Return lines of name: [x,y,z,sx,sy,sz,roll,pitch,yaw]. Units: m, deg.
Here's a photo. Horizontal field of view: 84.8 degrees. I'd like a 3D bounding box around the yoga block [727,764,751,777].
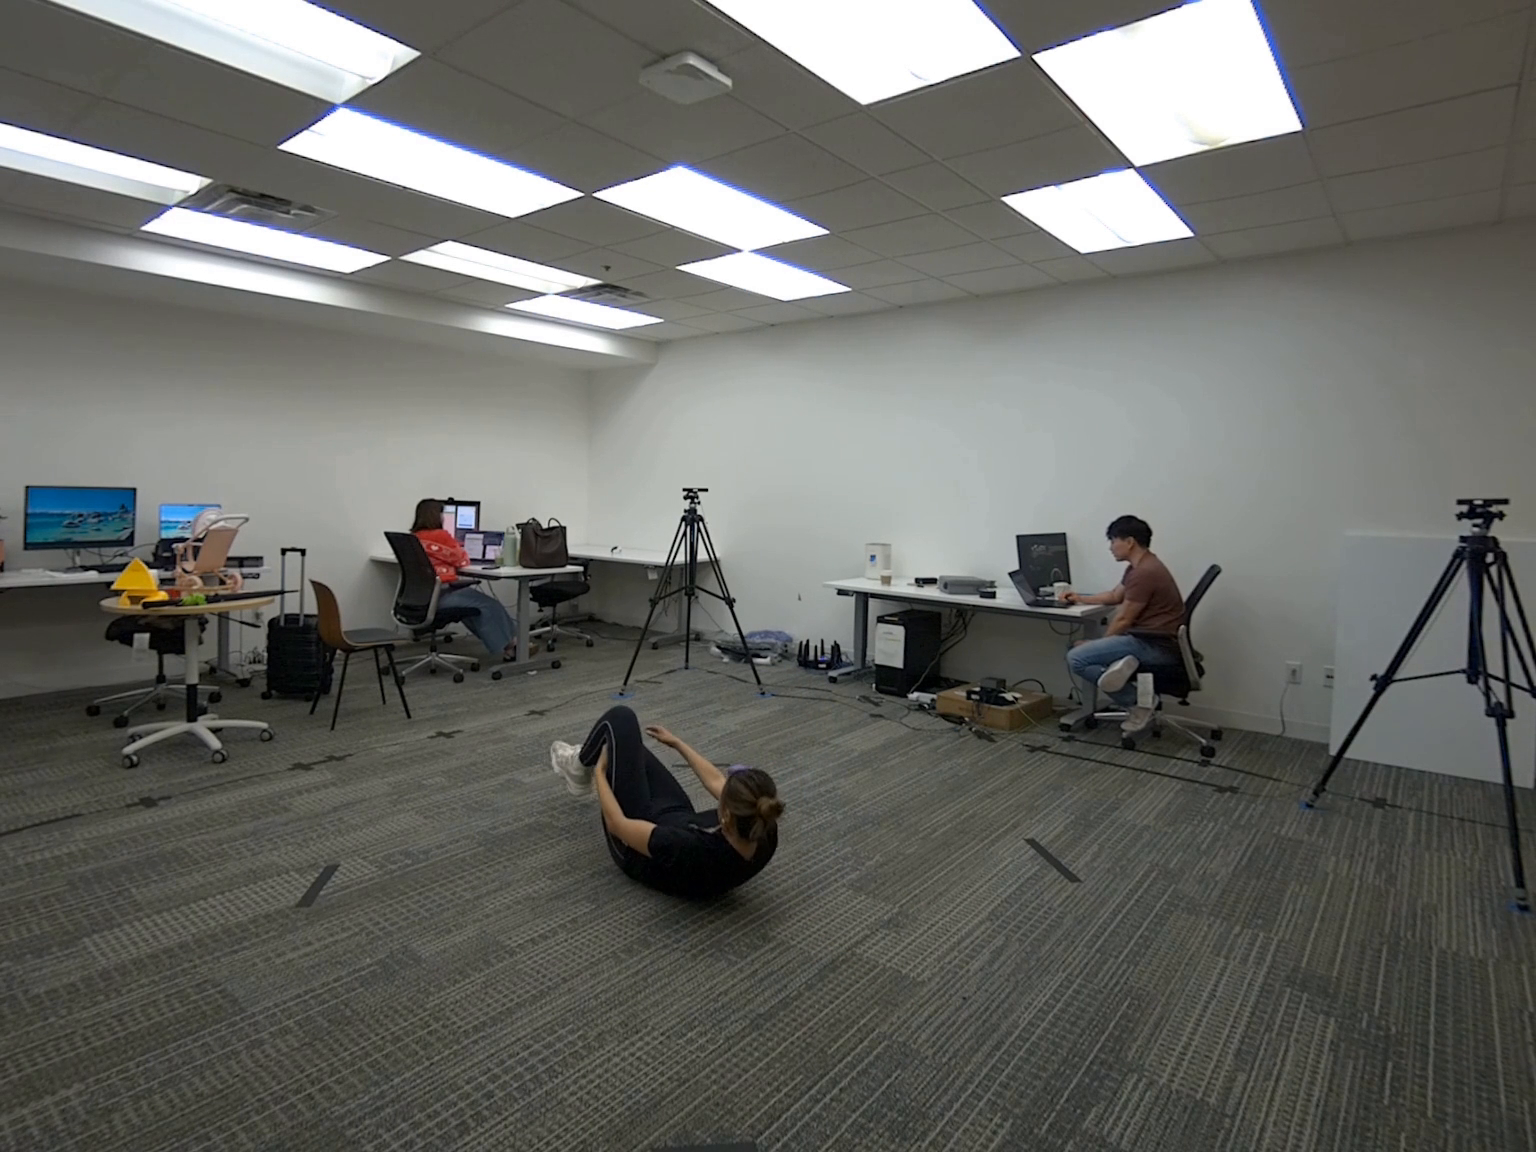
yoga block: [-0.099,0.913,3.528,0.153,0.229,0.074,2,2,32]
